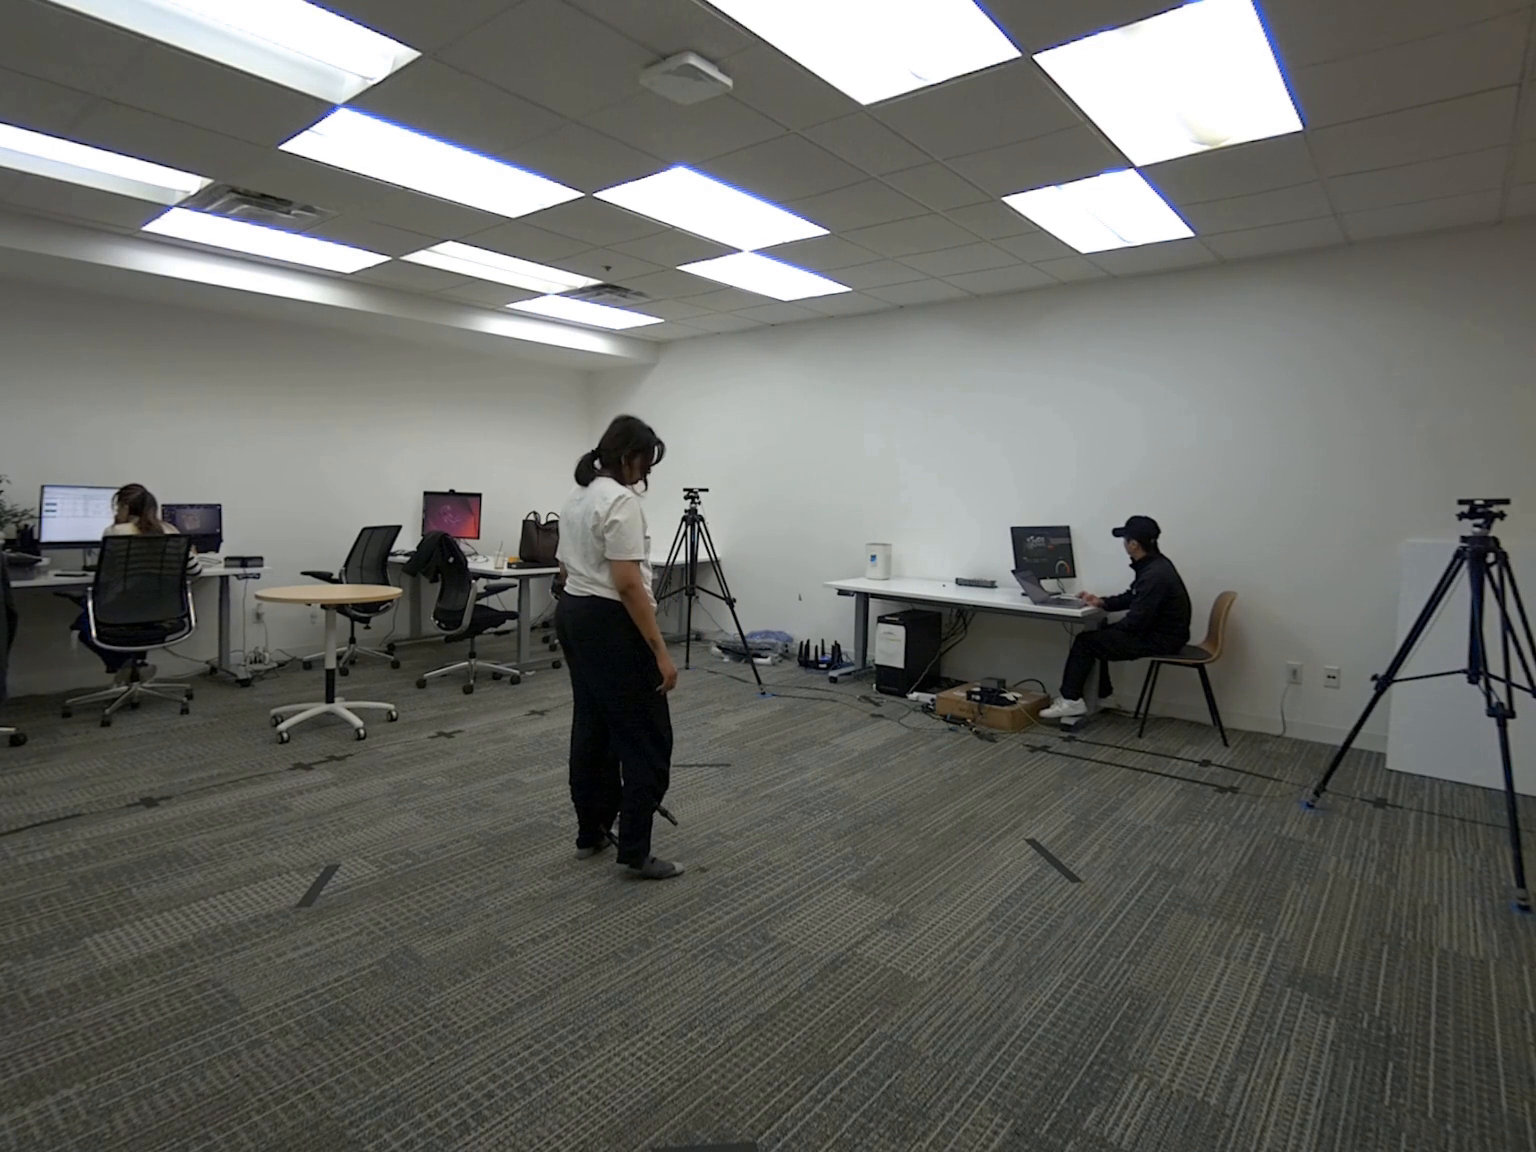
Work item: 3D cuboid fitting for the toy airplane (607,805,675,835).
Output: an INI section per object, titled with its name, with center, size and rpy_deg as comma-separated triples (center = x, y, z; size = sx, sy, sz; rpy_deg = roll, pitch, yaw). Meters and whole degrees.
[toy airplane]
center = -0.620, 0.932, 3.621
size = 0.268, 0.156, 0.243
rpy_deg = 5, 5, 42
